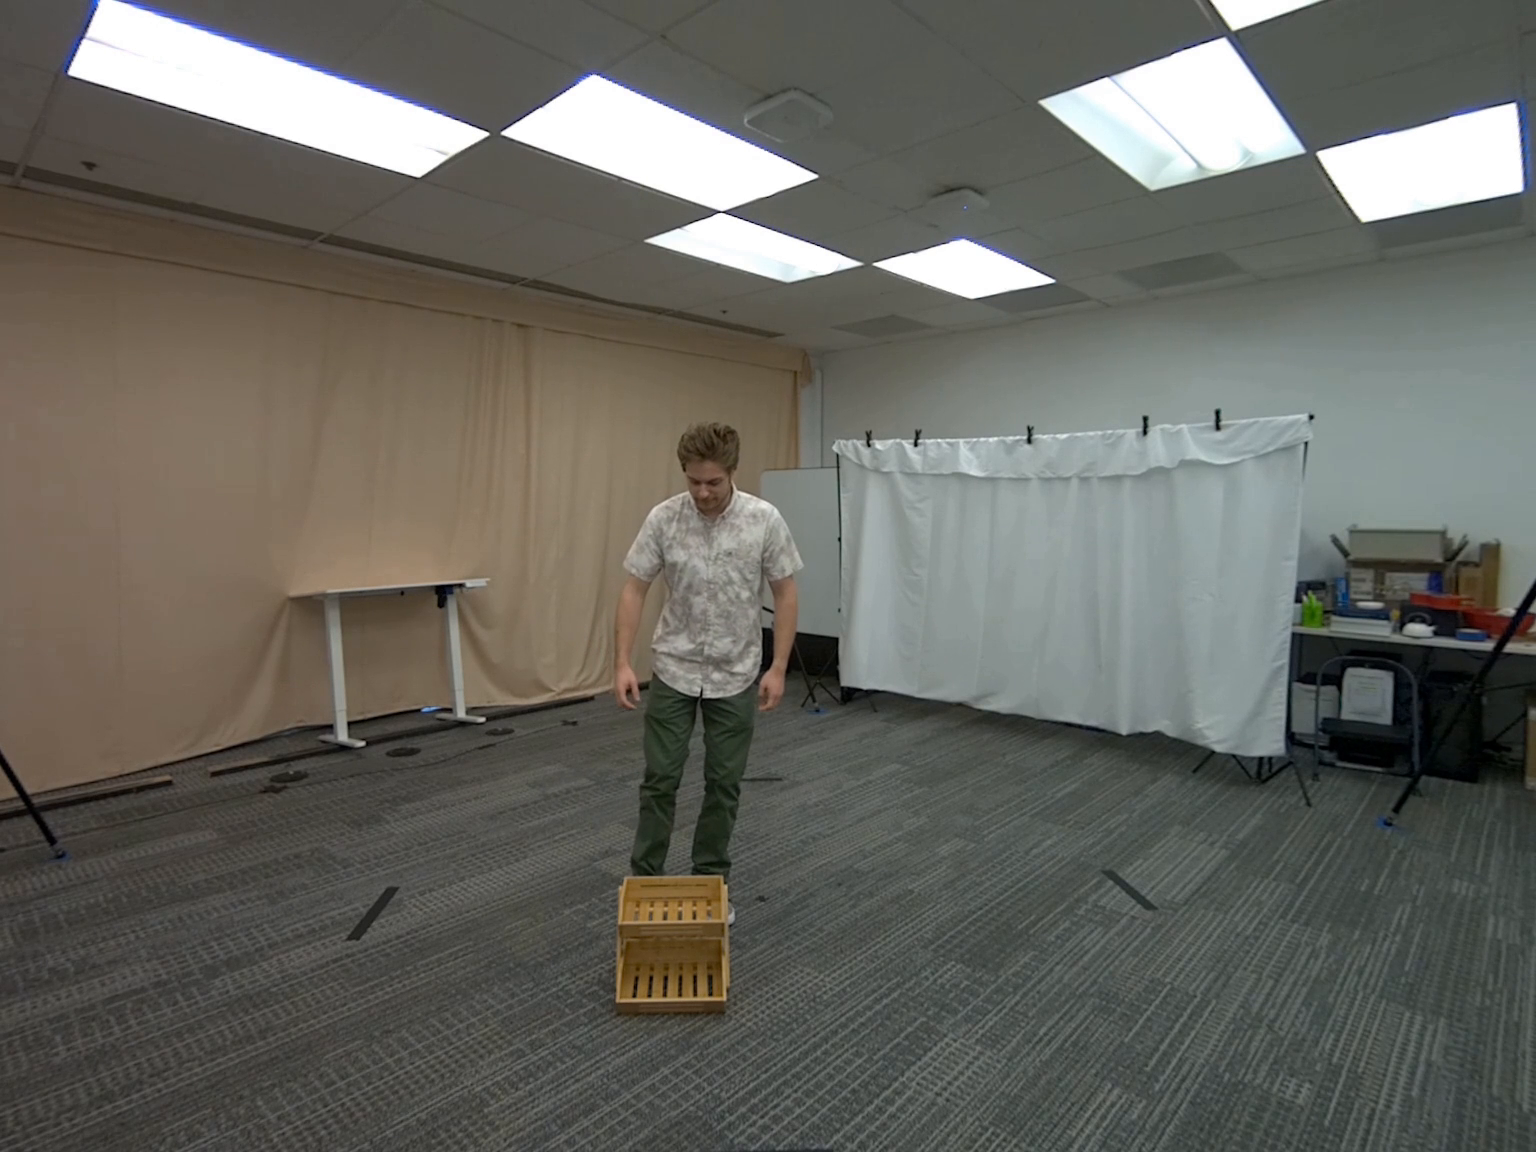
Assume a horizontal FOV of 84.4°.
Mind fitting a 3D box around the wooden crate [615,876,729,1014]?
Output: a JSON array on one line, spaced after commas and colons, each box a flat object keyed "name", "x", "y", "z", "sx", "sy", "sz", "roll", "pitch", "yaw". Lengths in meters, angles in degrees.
[{"name": "wooden crate", "x": -0.278, "y": 1.056, "z": 2.430, "sx": 0.324, "sy": 0.273, "sz": 0.303, "roll": -1, "pitch": 4, "yaw": -3}]
